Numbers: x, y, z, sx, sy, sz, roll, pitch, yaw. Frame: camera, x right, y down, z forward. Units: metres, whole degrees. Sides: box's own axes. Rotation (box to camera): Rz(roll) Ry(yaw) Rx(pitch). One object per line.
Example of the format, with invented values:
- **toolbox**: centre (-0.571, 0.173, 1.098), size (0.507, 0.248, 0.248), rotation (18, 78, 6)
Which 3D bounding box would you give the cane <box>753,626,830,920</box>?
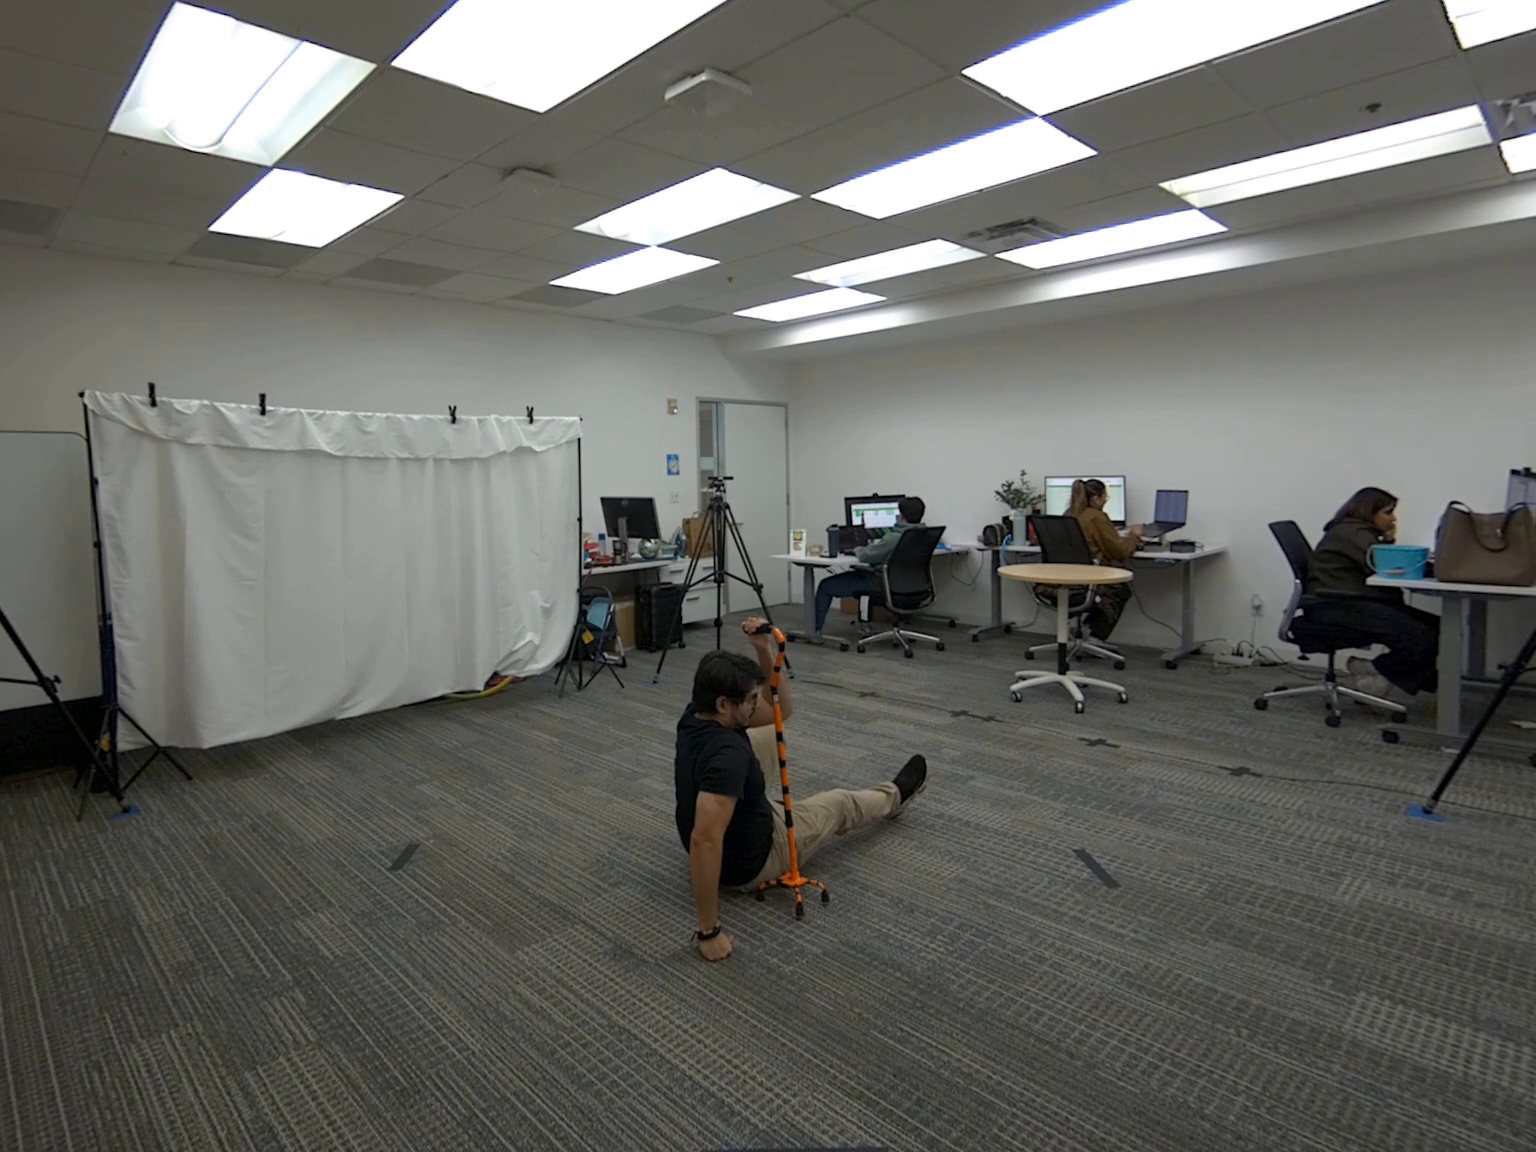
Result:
- **cane**: centre (0.042, 0.604, 2.793), size (0.147, 0.907, 0.212), rotation (-5, 1, -45)
